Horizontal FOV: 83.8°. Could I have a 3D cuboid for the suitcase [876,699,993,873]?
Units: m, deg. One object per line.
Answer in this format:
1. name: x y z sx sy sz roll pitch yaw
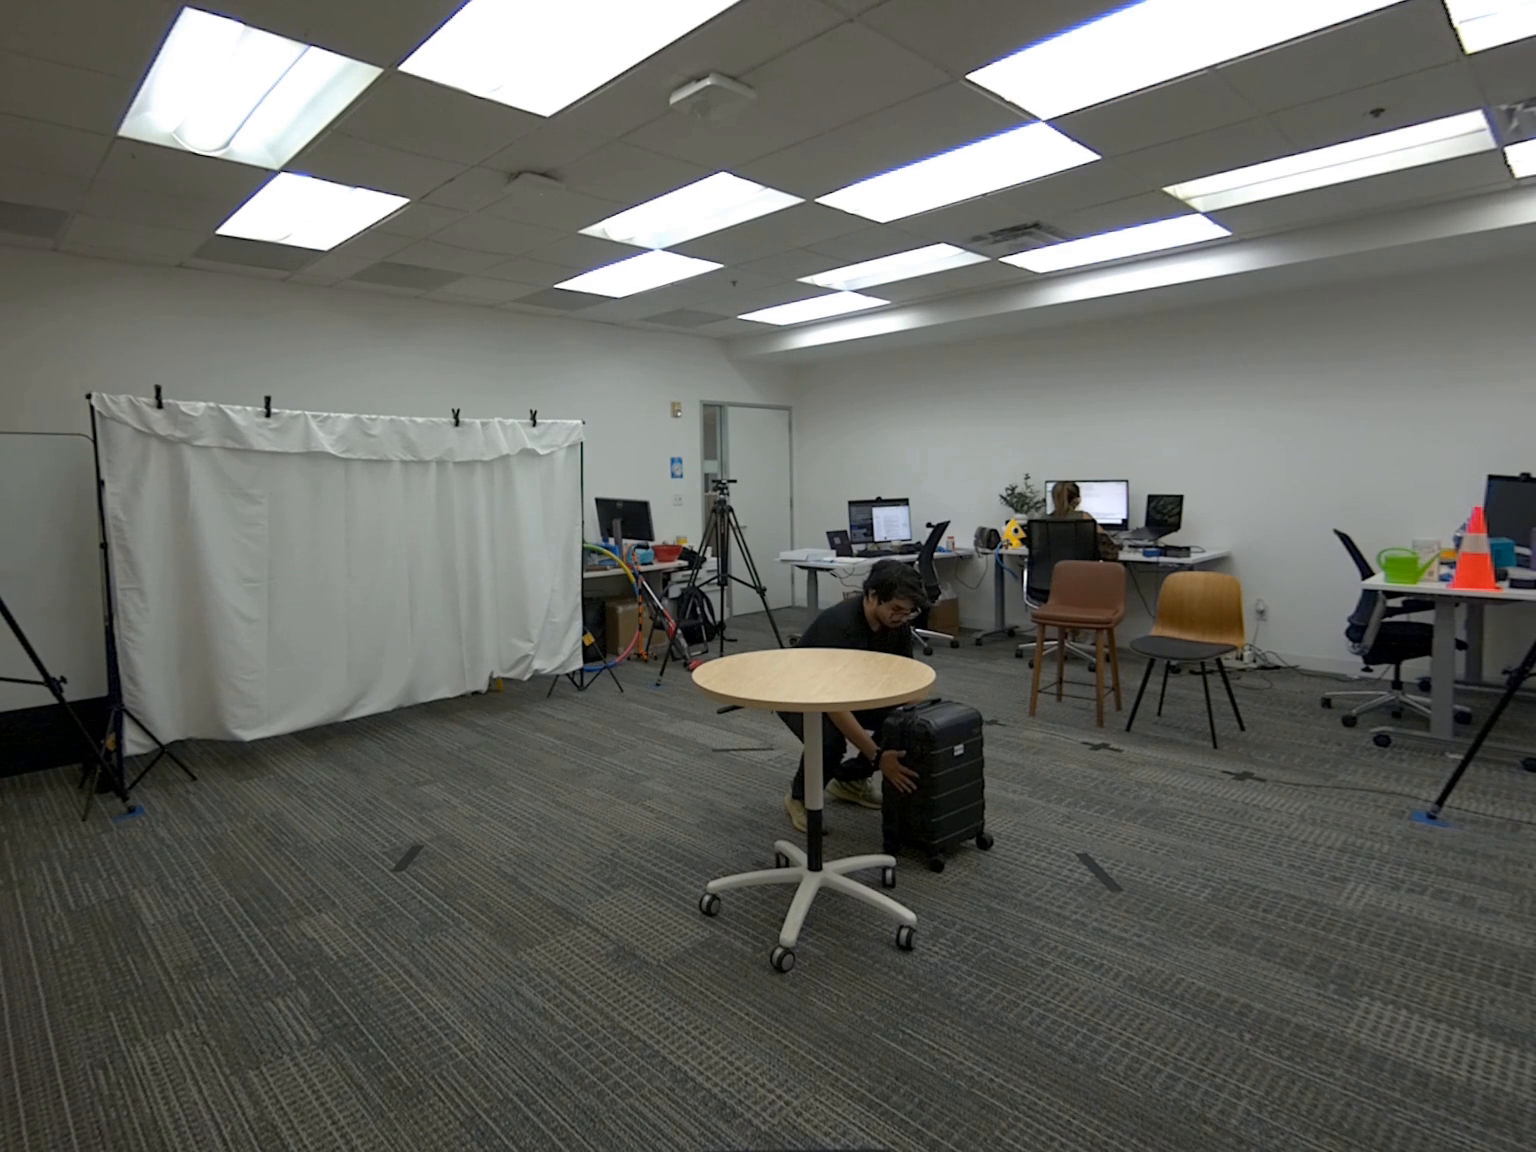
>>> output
1. suitcase: 0.623 0.754 3.189 0.365 0.547 0.256 -5 5 -42
